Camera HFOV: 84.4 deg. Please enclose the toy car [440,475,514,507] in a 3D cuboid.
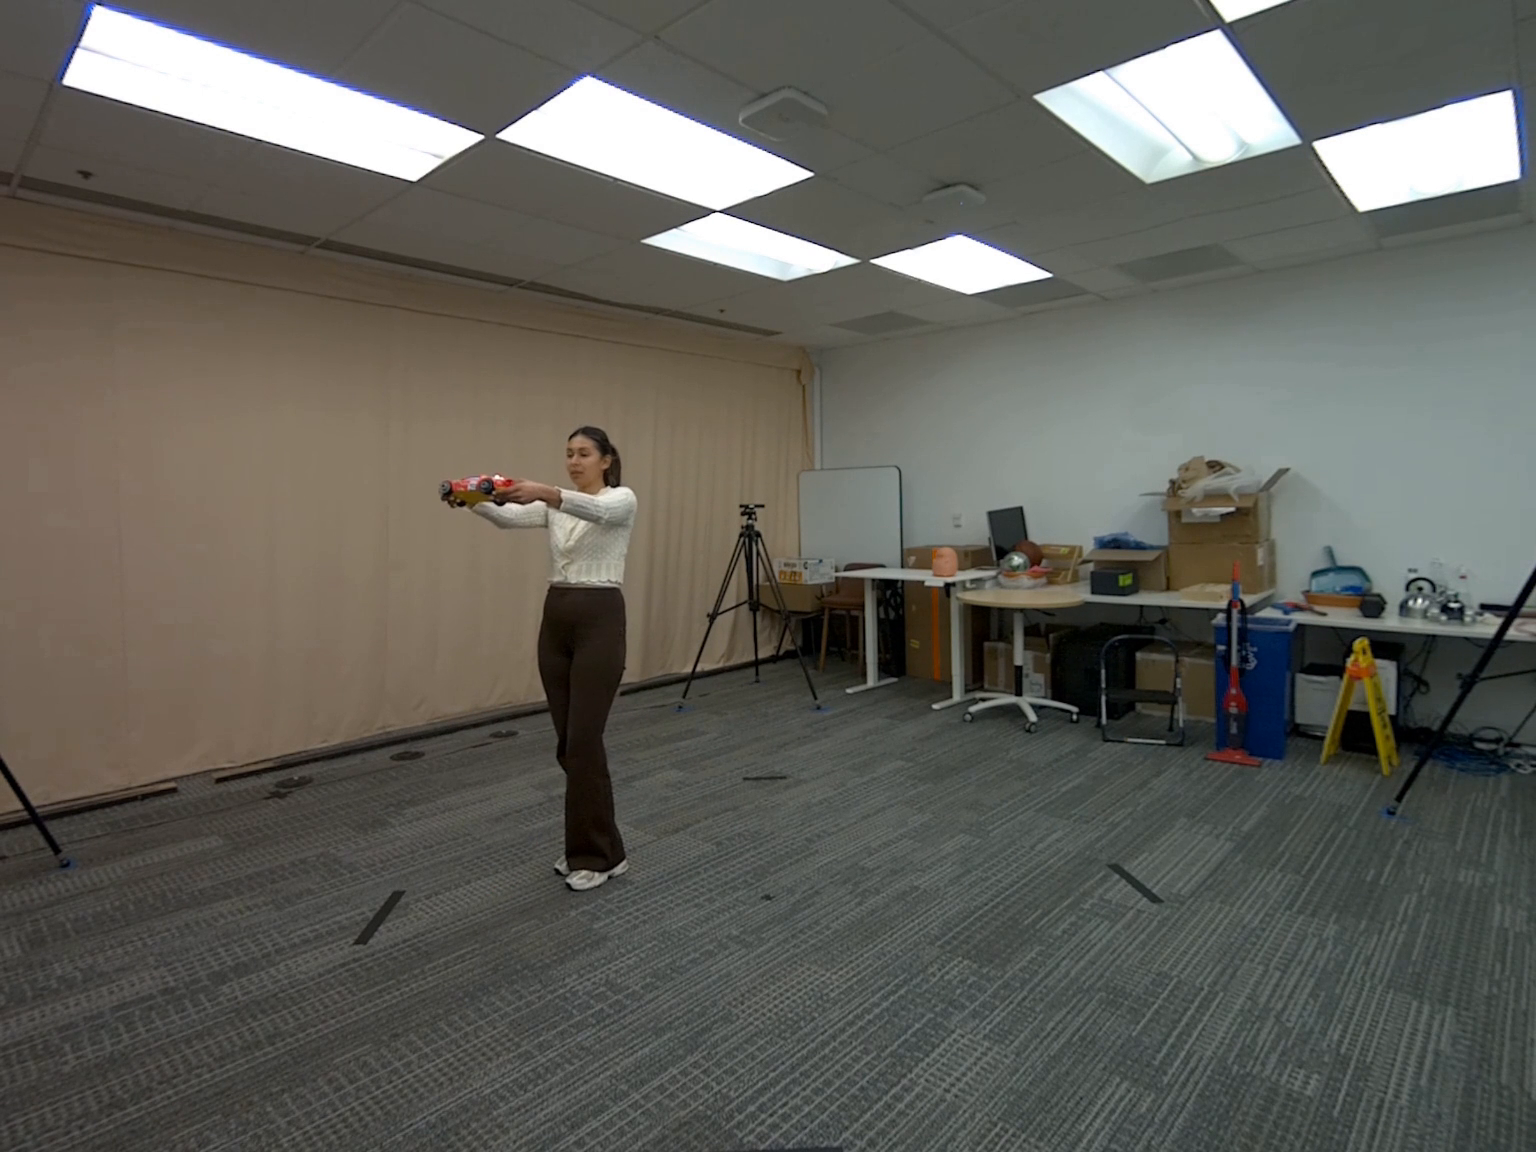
[{"bbox_3d":[-0.914,-0.271,2.717,0.257,0.084,0.127,-10,-21,10],"label":"toy car"}]
